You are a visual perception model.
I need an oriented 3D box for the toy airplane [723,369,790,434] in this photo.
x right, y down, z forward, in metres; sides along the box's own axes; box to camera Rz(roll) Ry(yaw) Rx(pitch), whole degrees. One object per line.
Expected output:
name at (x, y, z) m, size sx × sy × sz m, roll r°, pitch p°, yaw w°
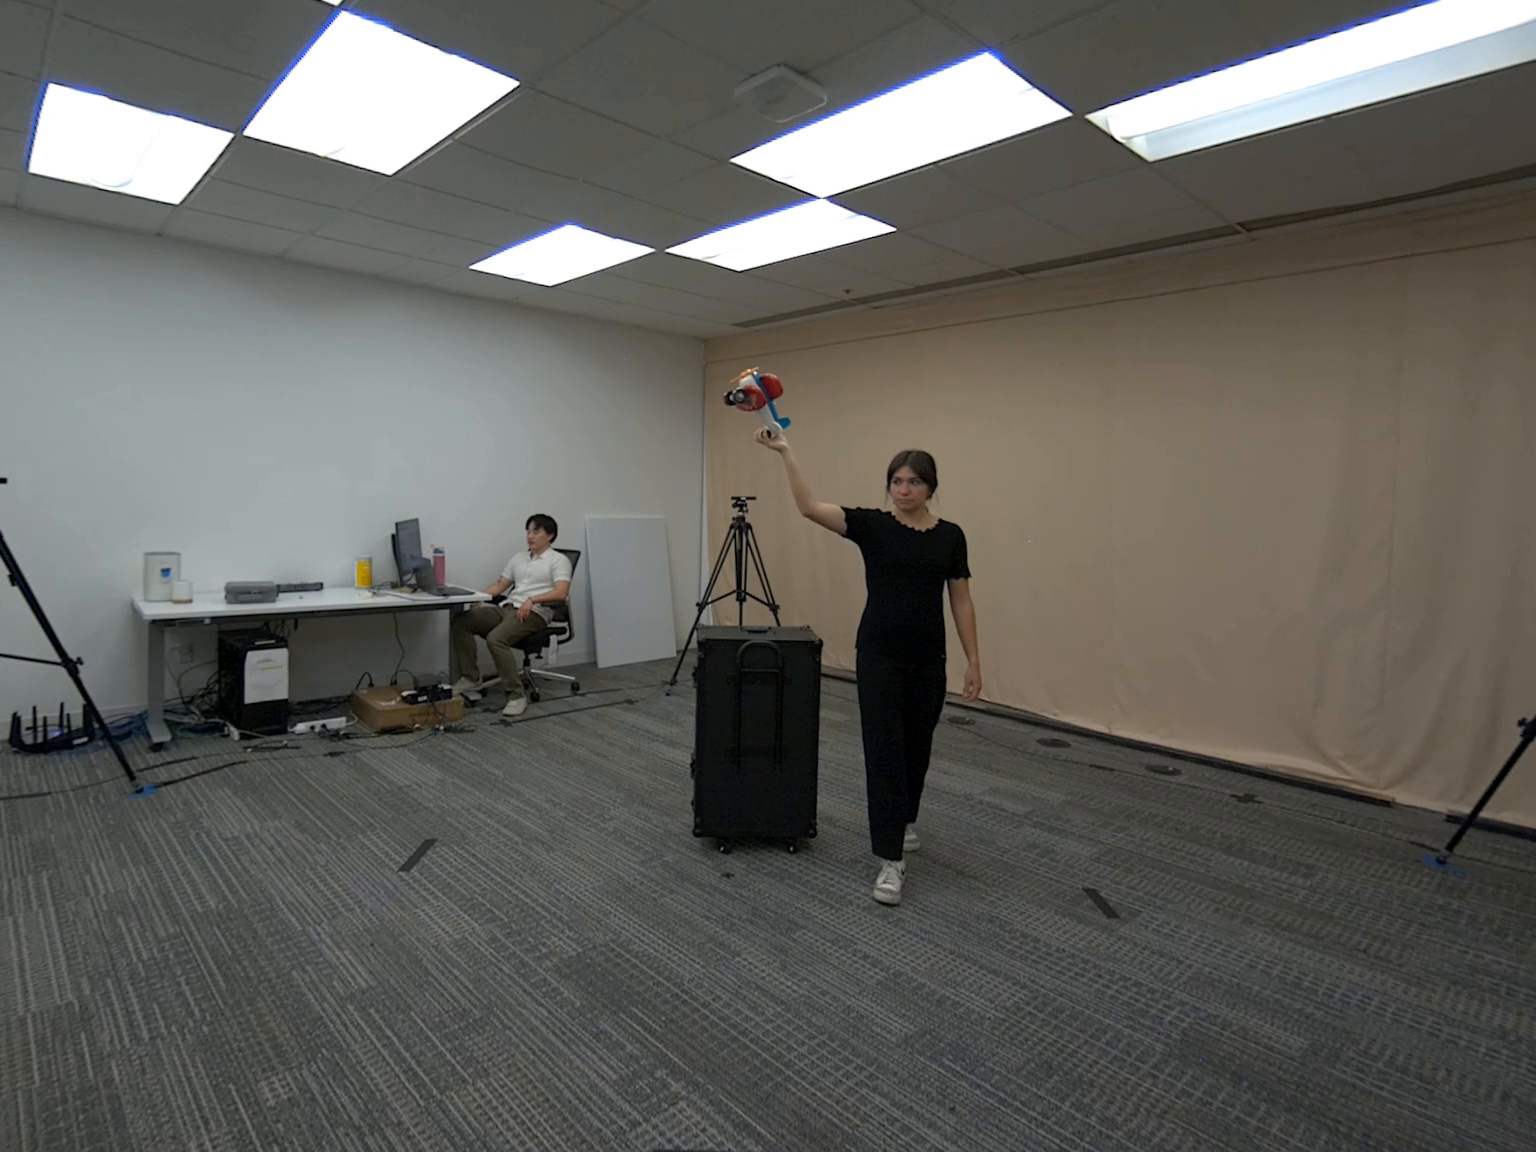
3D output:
toy airplane at (-0.050, -0.623, 3.079) m, size 0.259 × 0.156 × 0.251 m, roll 31°, pitch -16°, yaw 40°
